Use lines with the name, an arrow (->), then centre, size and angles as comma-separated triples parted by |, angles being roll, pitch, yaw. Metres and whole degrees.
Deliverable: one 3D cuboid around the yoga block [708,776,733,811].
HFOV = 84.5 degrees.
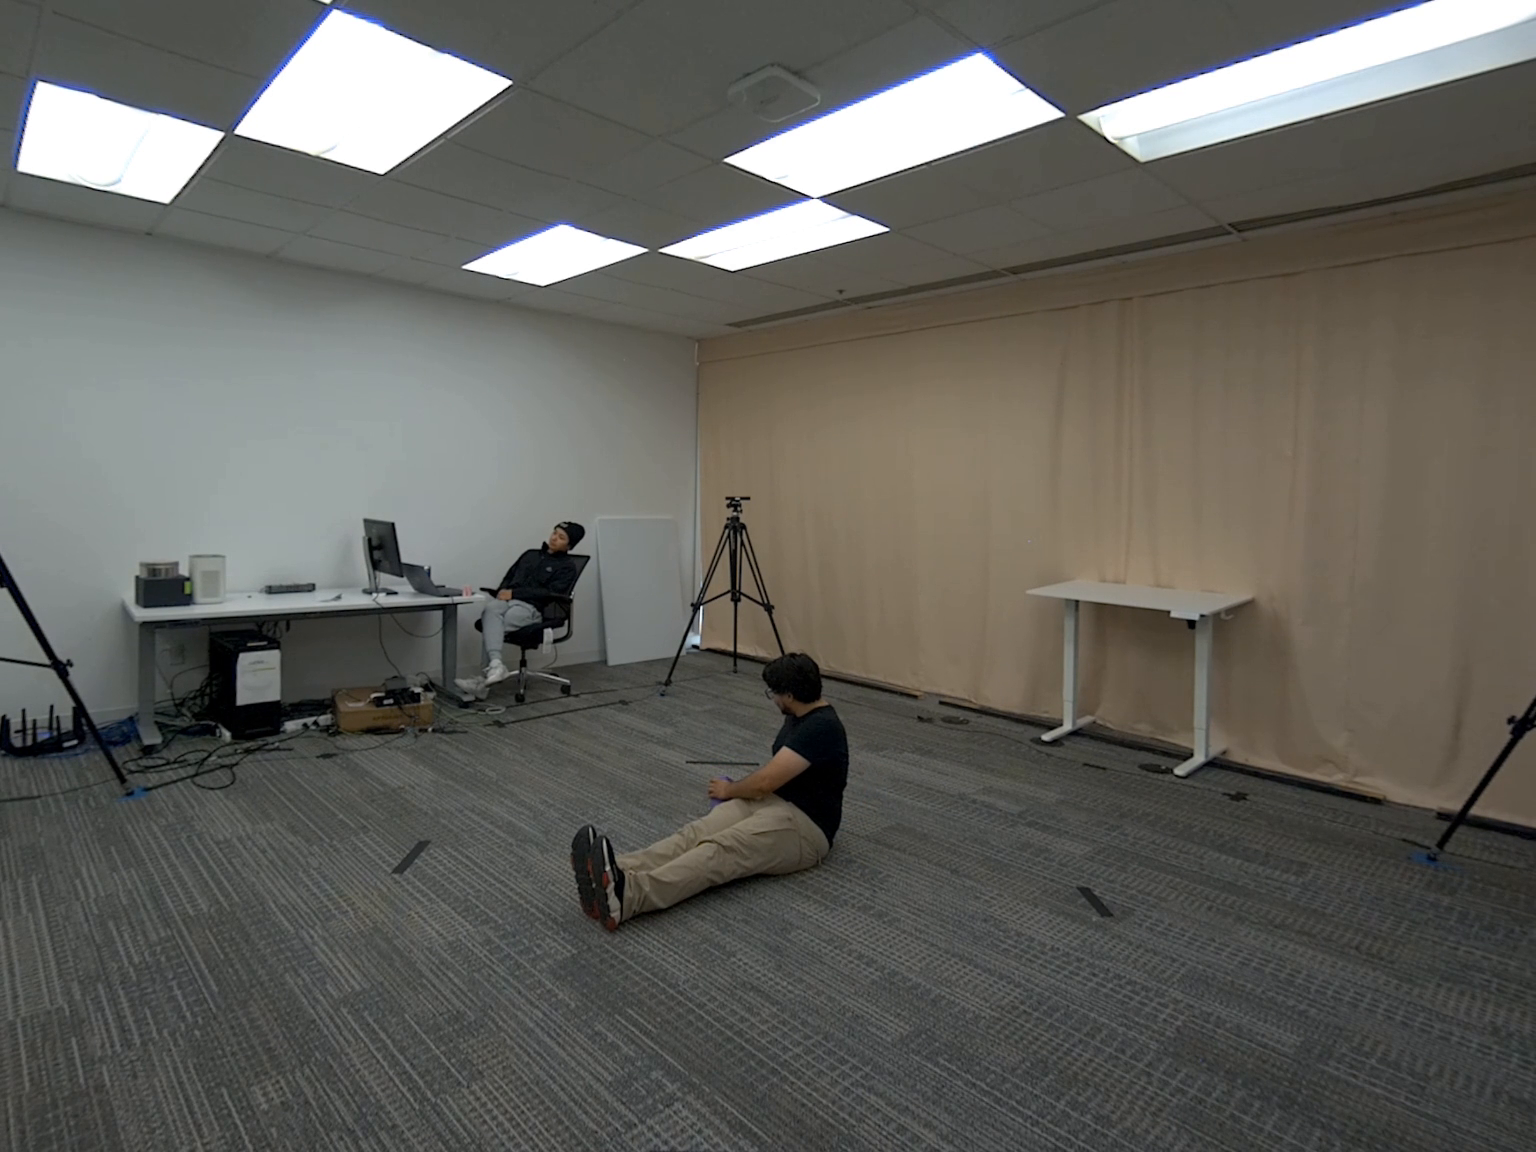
yoga block -> -0.150, 0.947, 3.529 | 0.077, 0.151, 0.222 | -8, -35, 20
